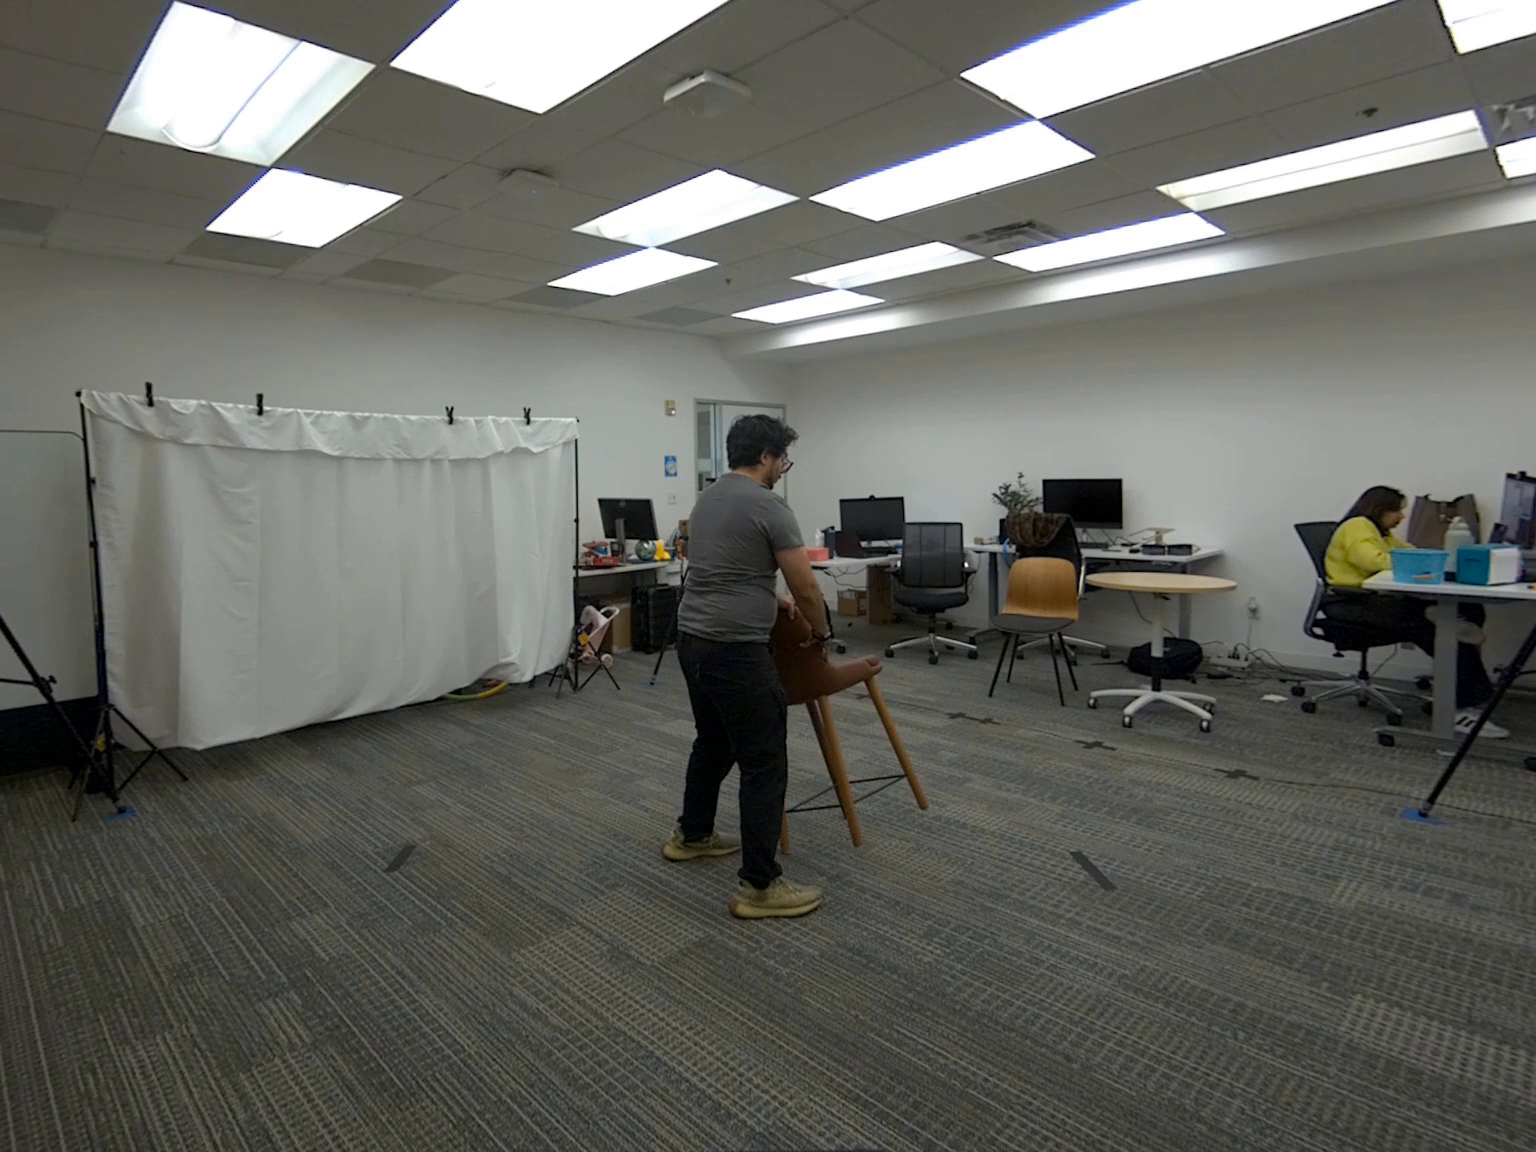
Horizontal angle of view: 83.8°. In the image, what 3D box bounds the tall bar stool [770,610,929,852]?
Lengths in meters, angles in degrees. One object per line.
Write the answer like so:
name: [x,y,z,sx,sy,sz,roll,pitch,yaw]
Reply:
tall bar stool: [0.202,0.549,3.286,0.464,0.897,0.456,-23,-8,42]
